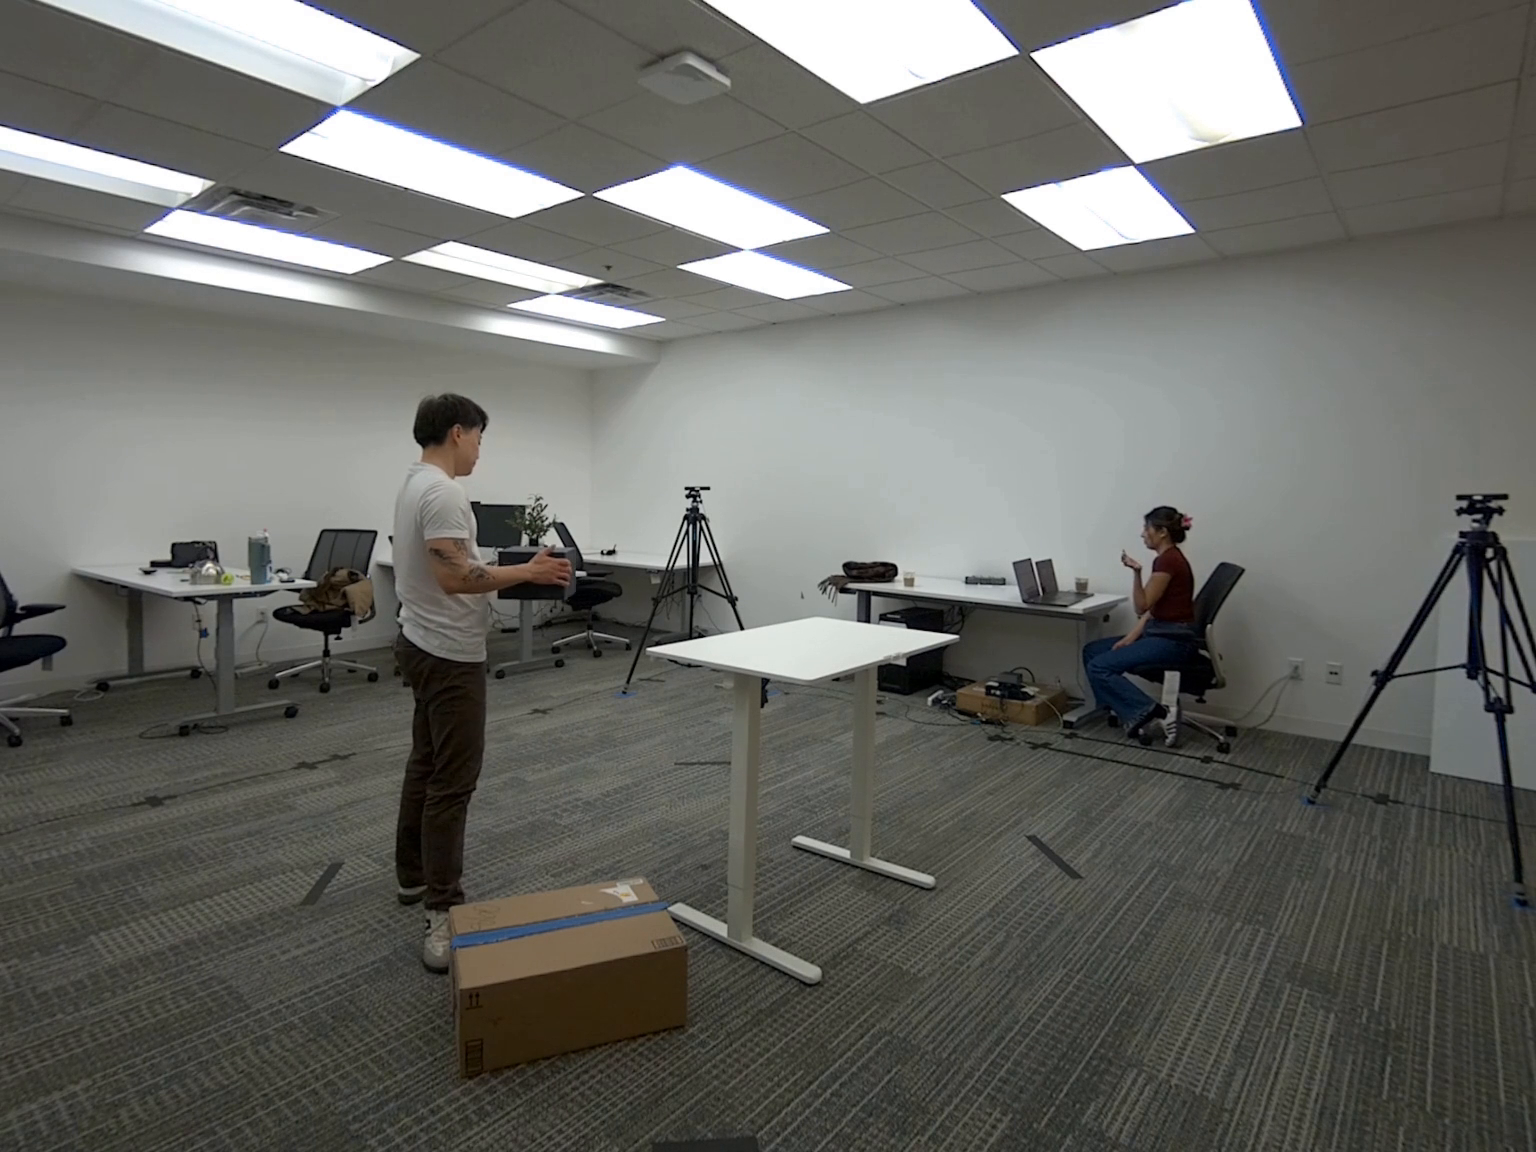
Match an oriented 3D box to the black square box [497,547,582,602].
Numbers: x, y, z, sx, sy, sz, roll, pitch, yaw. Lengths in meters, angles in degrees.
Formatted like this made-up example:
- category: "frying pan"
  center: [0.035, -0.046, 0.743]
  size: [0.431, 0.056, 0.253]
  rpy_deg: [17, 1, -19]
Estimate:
- category: "black square box"
  center: [-0.778, -0.008, 2.813]
  size: [0.217, 0.155, 0.229]
  rpy_deg: [3, 5, -1]
